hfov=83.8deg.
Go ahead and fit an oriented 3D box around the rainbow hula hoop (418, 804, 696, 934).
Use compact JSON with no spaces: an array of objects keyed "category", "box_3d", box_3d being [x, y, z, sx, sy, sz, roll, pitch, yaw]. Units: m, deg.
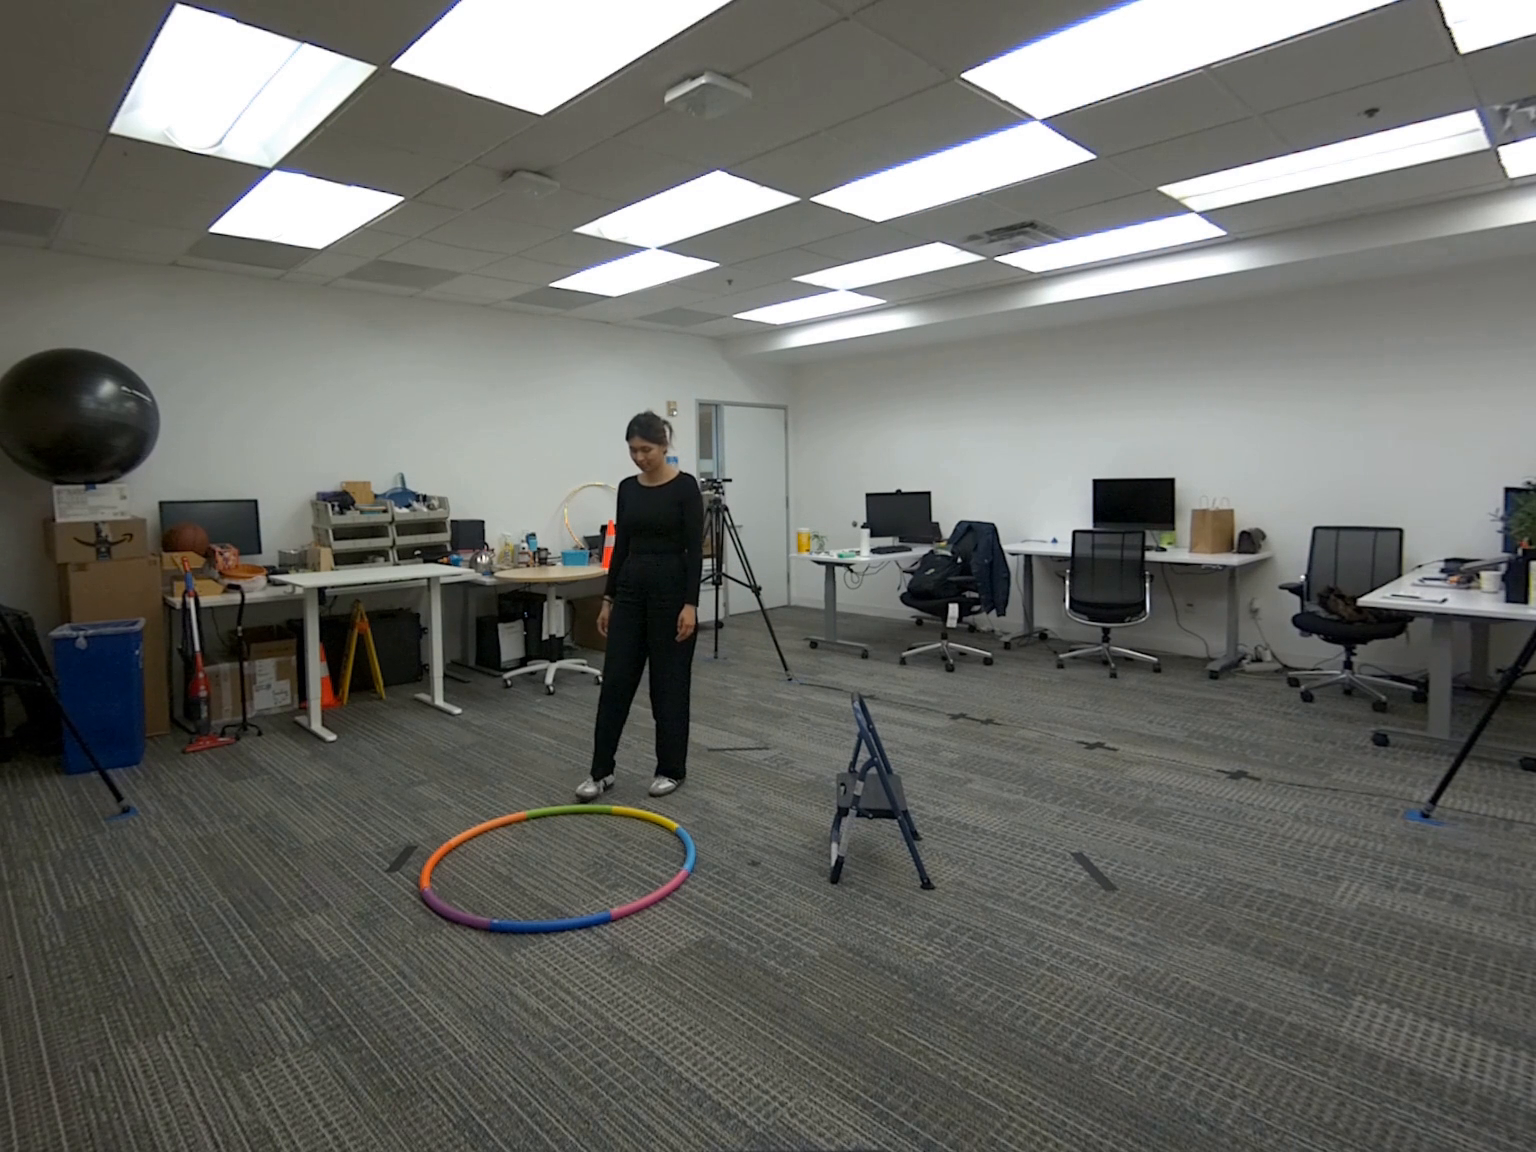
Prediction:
[{"category":"rainbow hula hoop","box_3d":[-0.745,1.019,3.135,0.978,0.035,0.984,-1,7,-2]}]
